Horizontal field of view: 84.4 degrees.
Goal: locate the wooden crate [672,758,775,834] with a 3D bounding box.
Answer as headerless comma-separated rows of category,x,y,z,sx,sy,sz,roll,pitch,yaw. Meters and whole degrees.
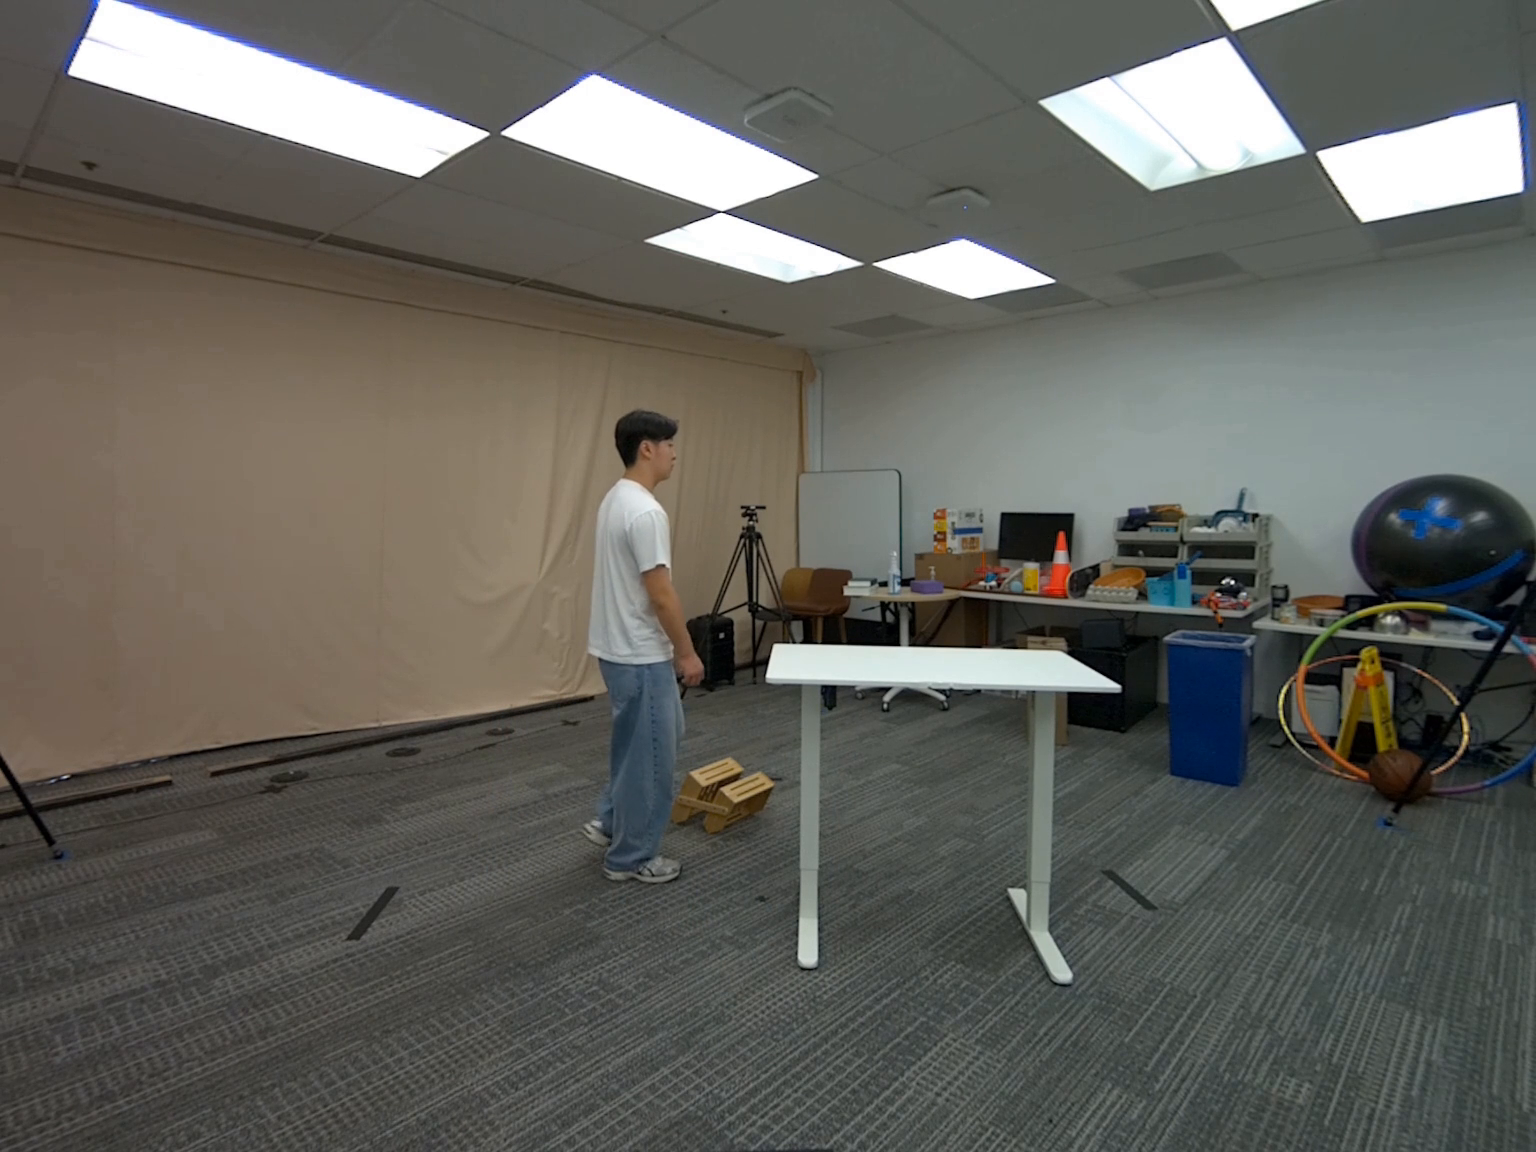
wooden crate,-0.199,0.995,3.717,0.282,0.301,0.315,35,23,30
